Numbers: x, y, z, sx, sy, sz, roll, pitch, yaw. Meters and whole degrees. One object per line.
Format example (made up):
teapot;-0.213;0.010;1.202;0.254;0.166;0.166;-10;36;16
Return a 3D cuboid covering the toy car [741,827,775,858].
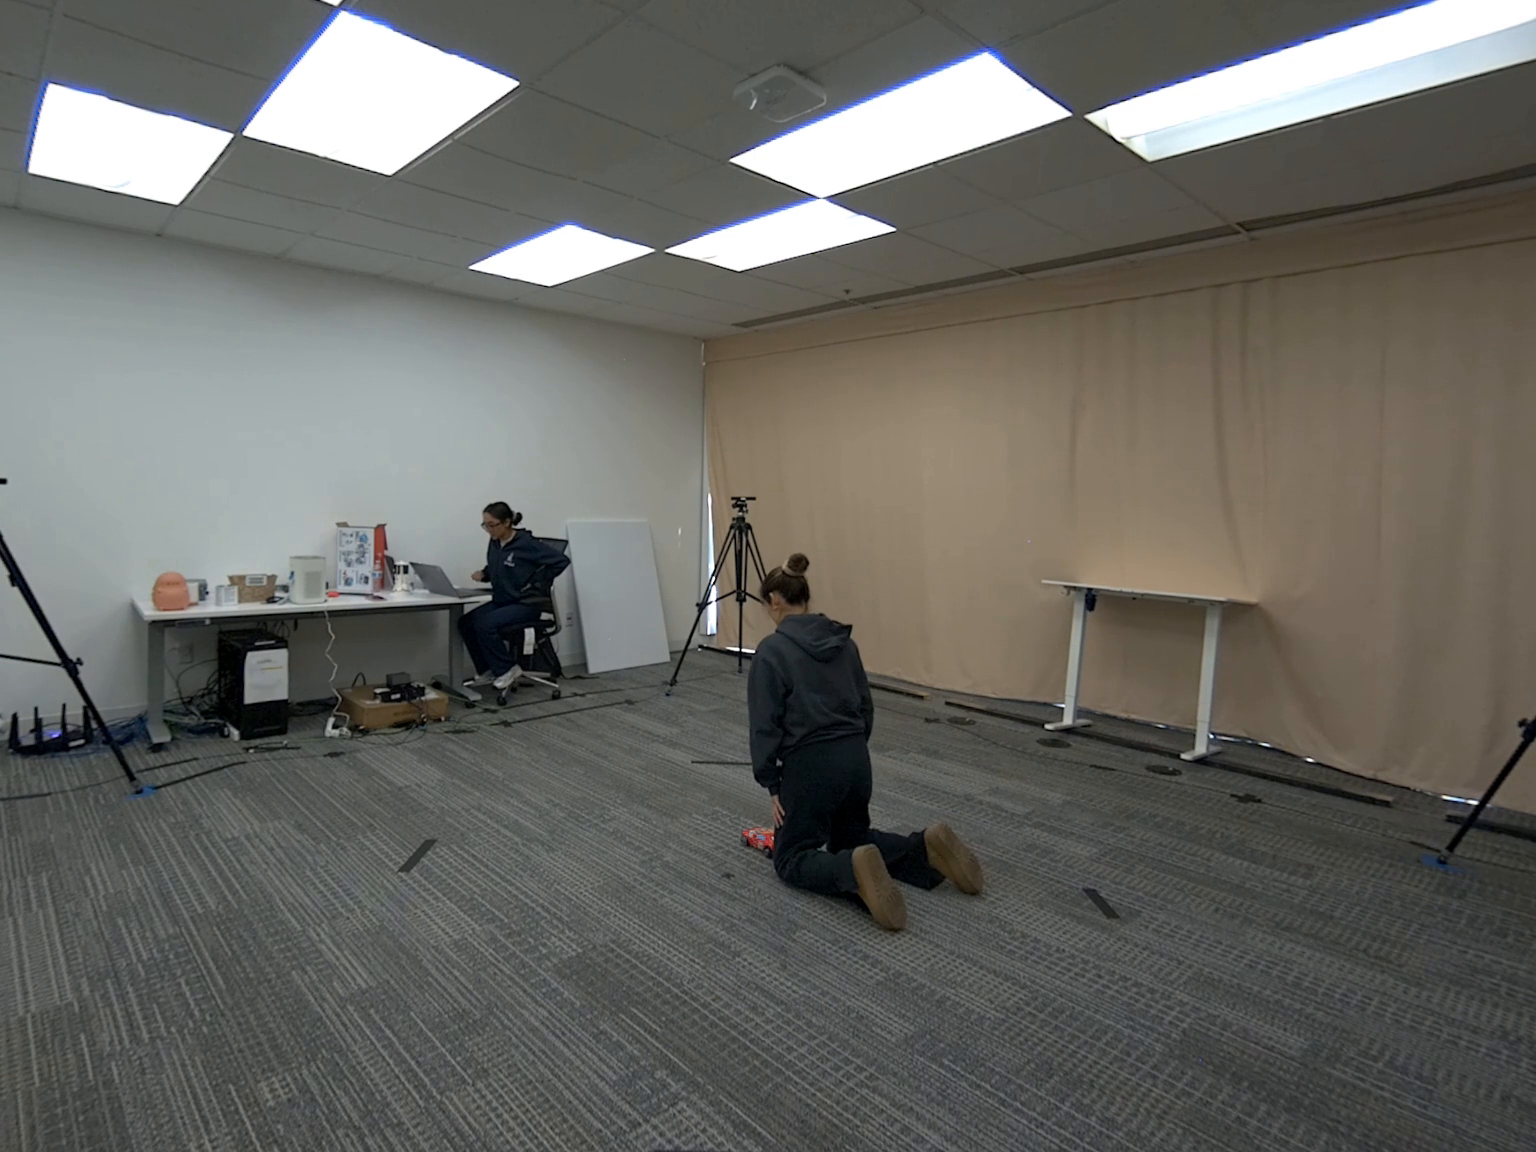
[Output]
toy car;-0.002;1.058;3.358;0.127;0.083;0.259;-2;-5;-40
